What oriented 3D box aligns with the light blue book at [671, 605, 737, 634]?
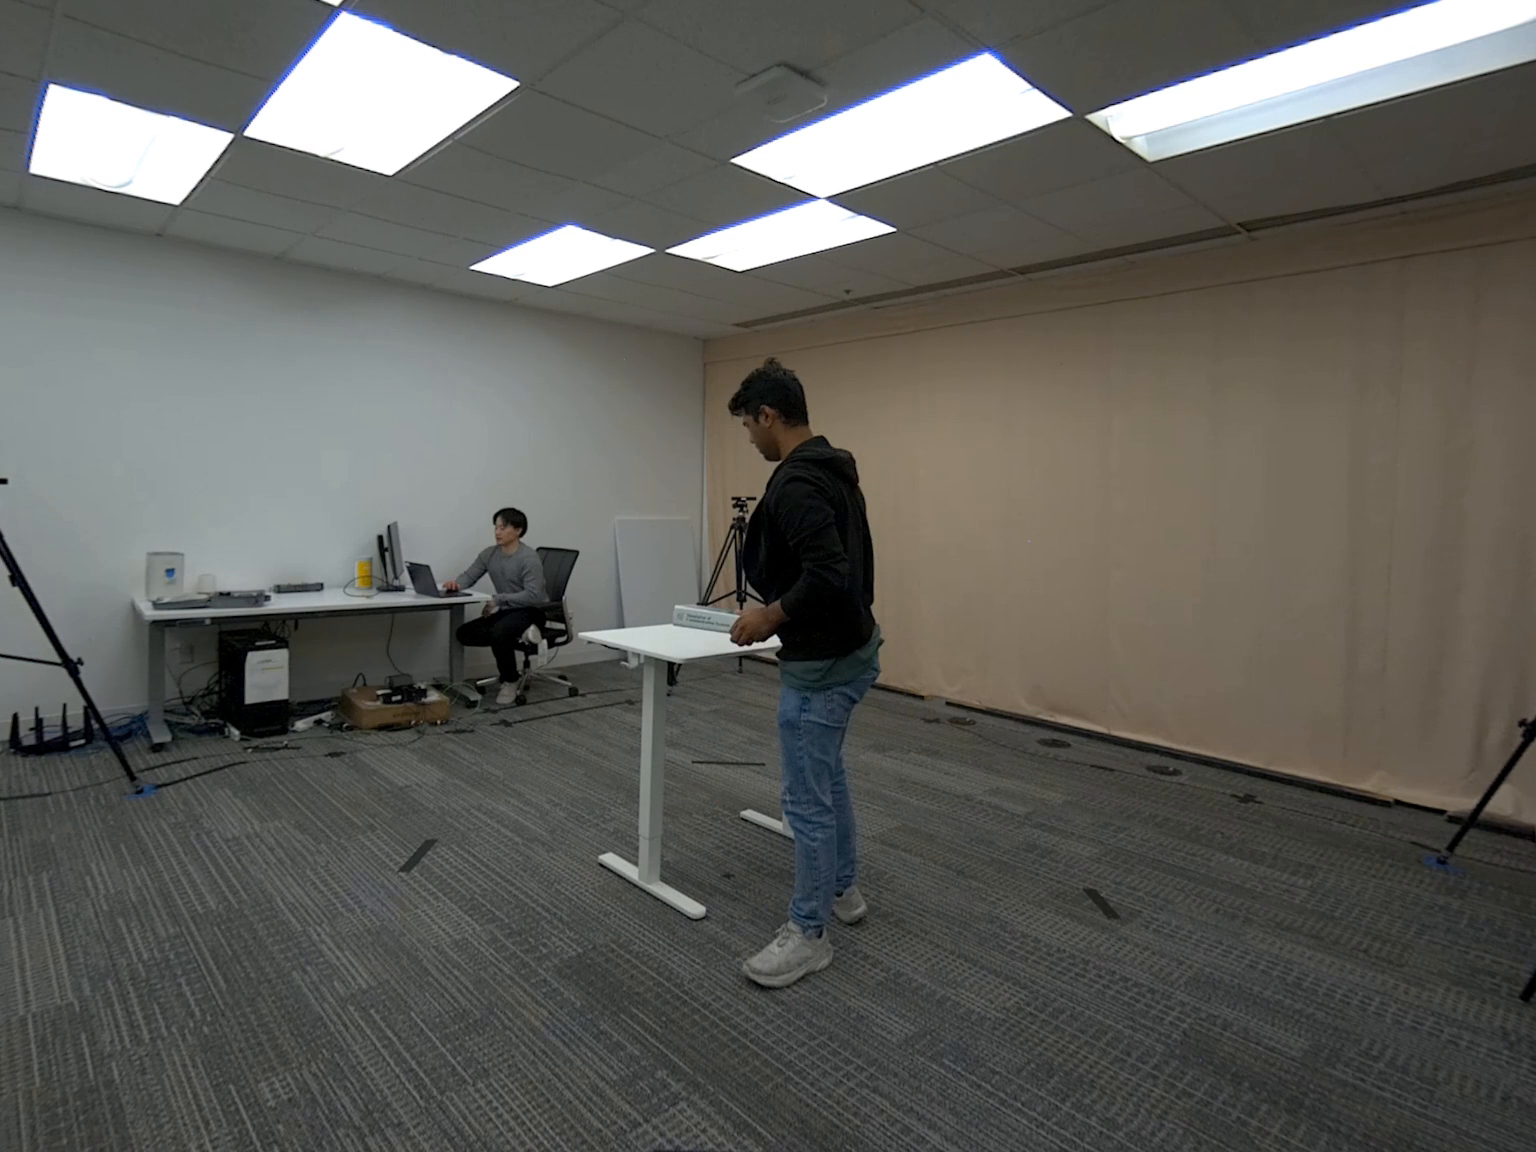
[{"bbox_3d":[-0.141,0.149,2.591,0.263,0.059,0.189,9,0,9],"label":"light blue book"}]
